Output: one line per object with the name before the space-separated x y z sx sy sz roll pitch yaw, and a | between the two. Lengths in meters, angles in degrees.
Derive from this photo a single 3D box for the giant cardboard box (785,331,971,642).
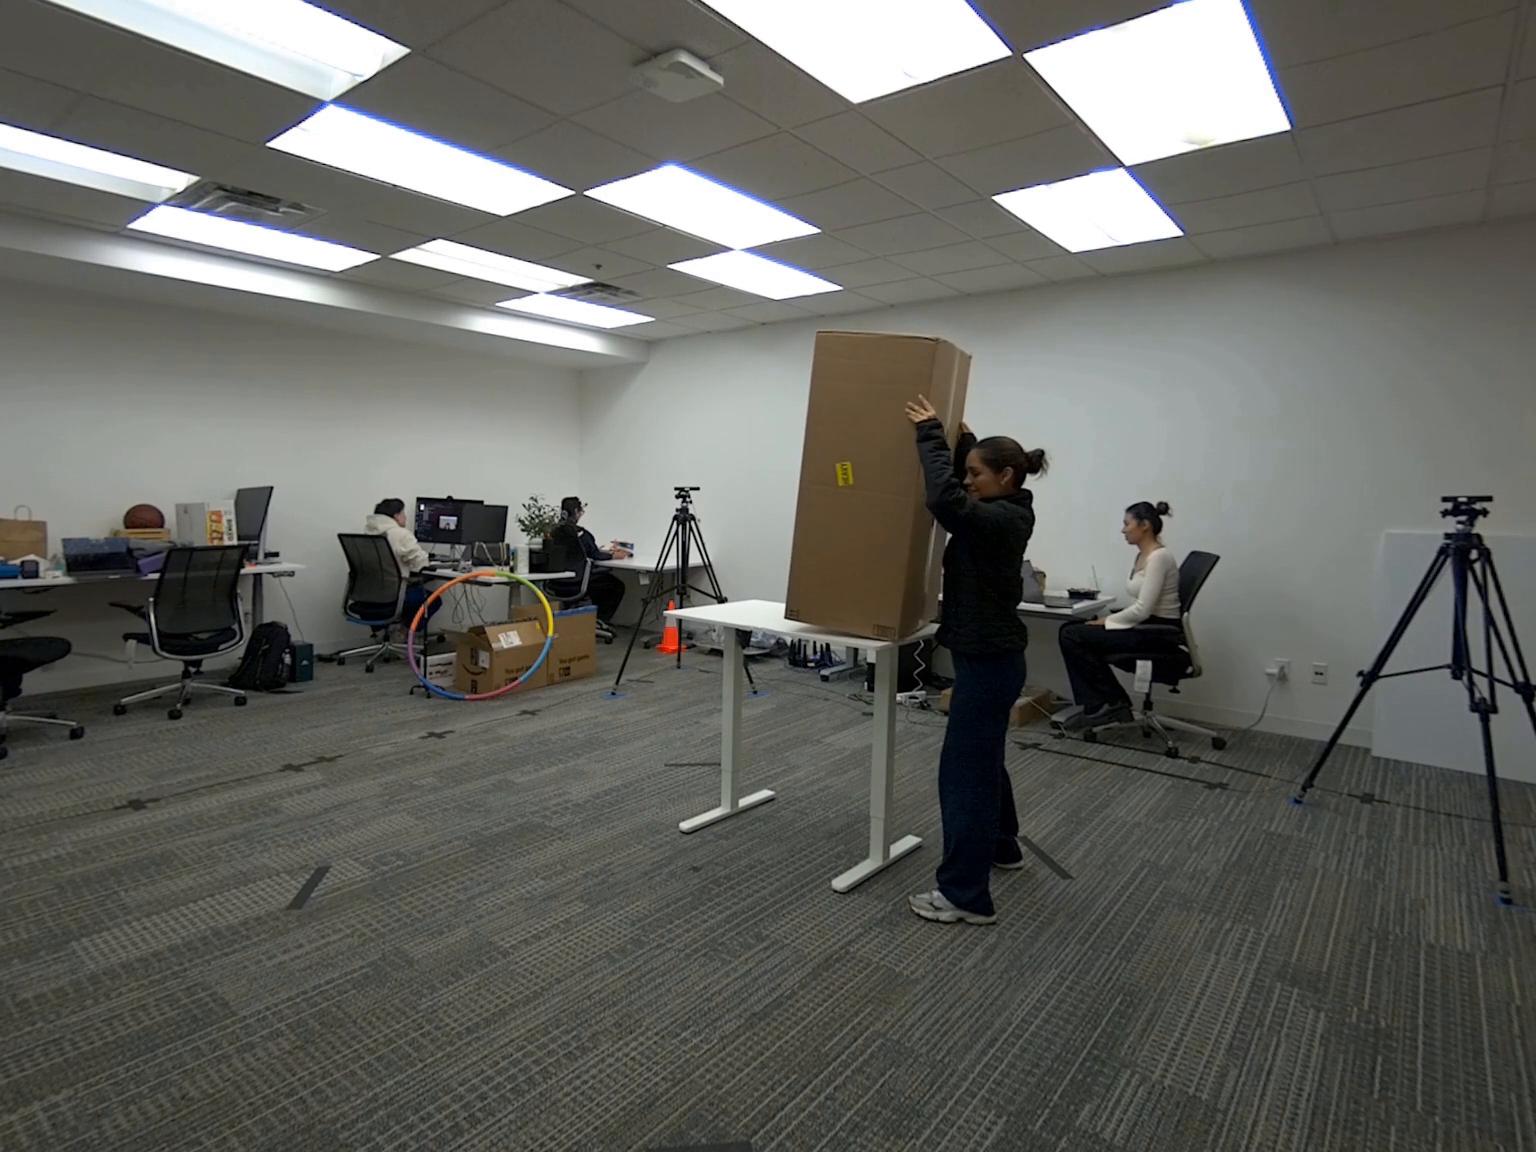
giant cardboard box | 0.427 -0.343 3.146 0.460 1.020 0.571 10 9 26
